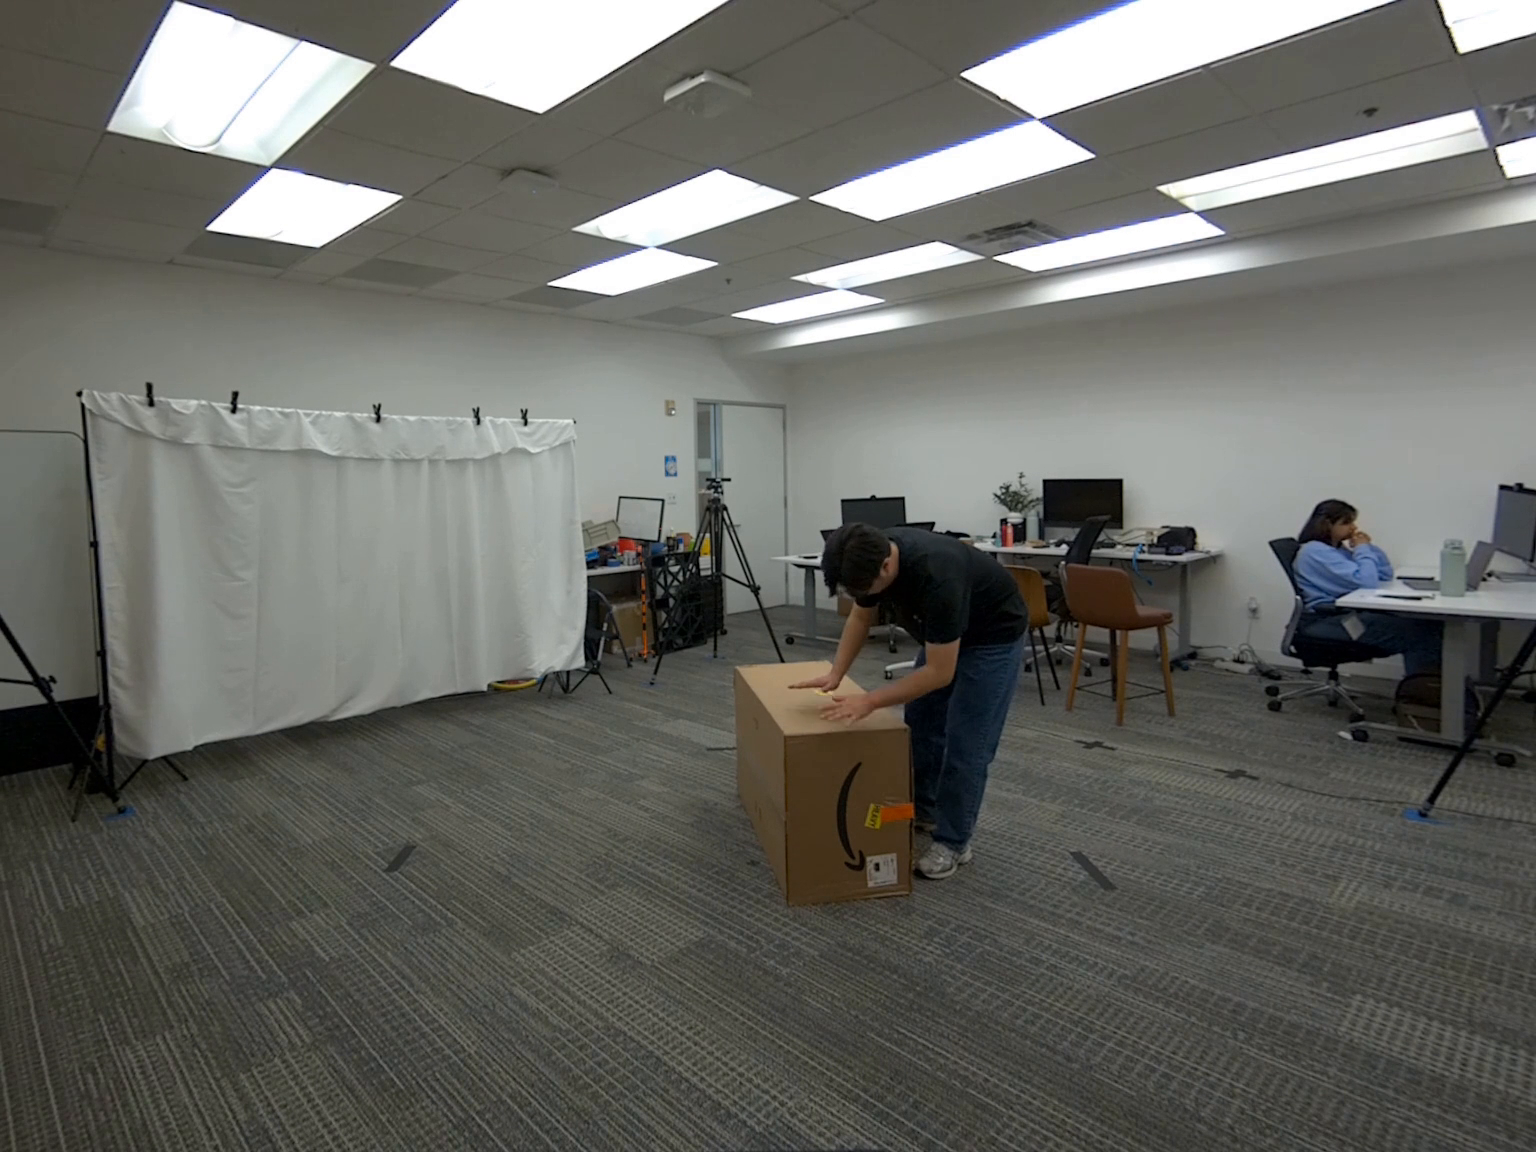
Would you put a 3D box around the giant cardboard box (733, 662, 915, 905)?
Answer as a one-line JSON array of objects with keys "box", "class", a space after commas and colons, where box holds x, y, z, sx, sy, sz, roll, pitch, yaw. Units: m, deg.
[{"box": [0.170, 0.728, 3.297, 0.442, 0.581, 1.042, -1, 6, -11], "class": "giant cardboard box"}]
